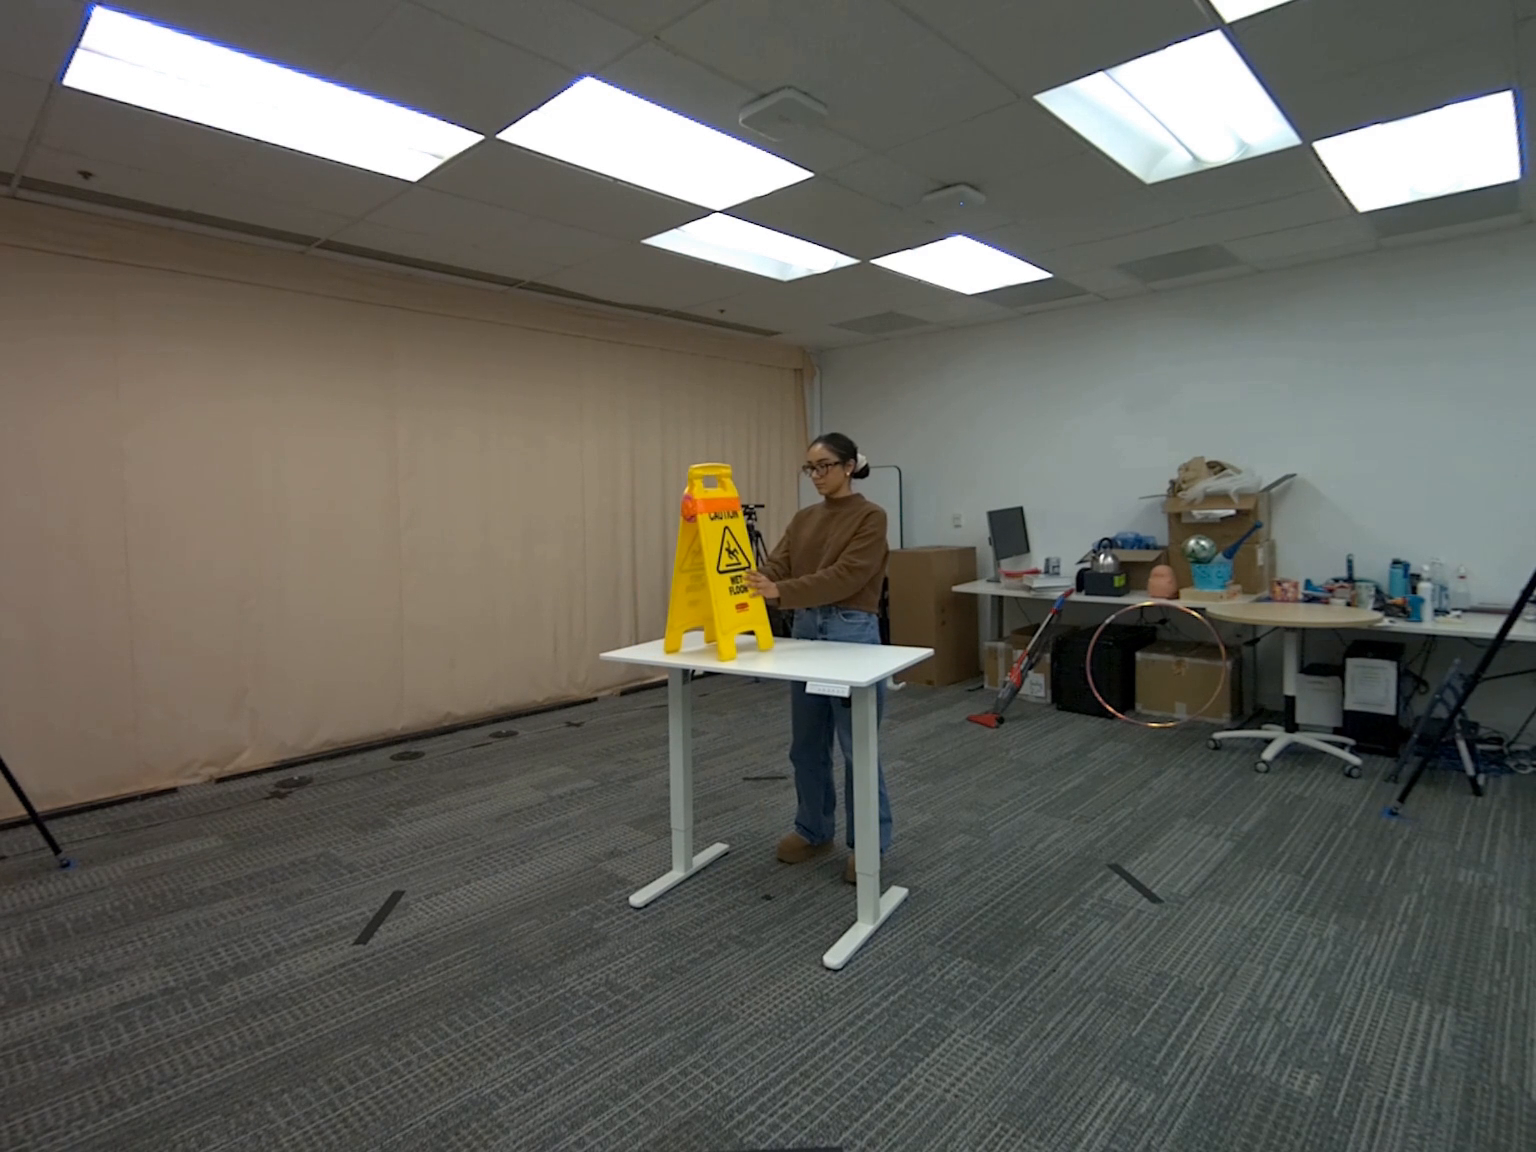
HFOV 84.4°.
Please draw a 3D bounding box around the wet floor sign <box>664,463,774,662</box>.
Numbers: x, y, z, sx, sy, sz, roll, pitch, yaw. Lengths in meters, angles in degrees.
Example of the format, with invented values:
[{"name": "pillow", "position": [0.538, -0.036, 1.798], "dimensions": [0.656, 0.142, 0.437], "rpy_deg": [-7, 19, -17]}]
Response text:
[{"name": "wet floor sign", "position": [-0.180, -0.059, 2.914], "dimensions": [0.299, 0.644, 0.274], "rpy_deg": [2, 6, 39]}]
